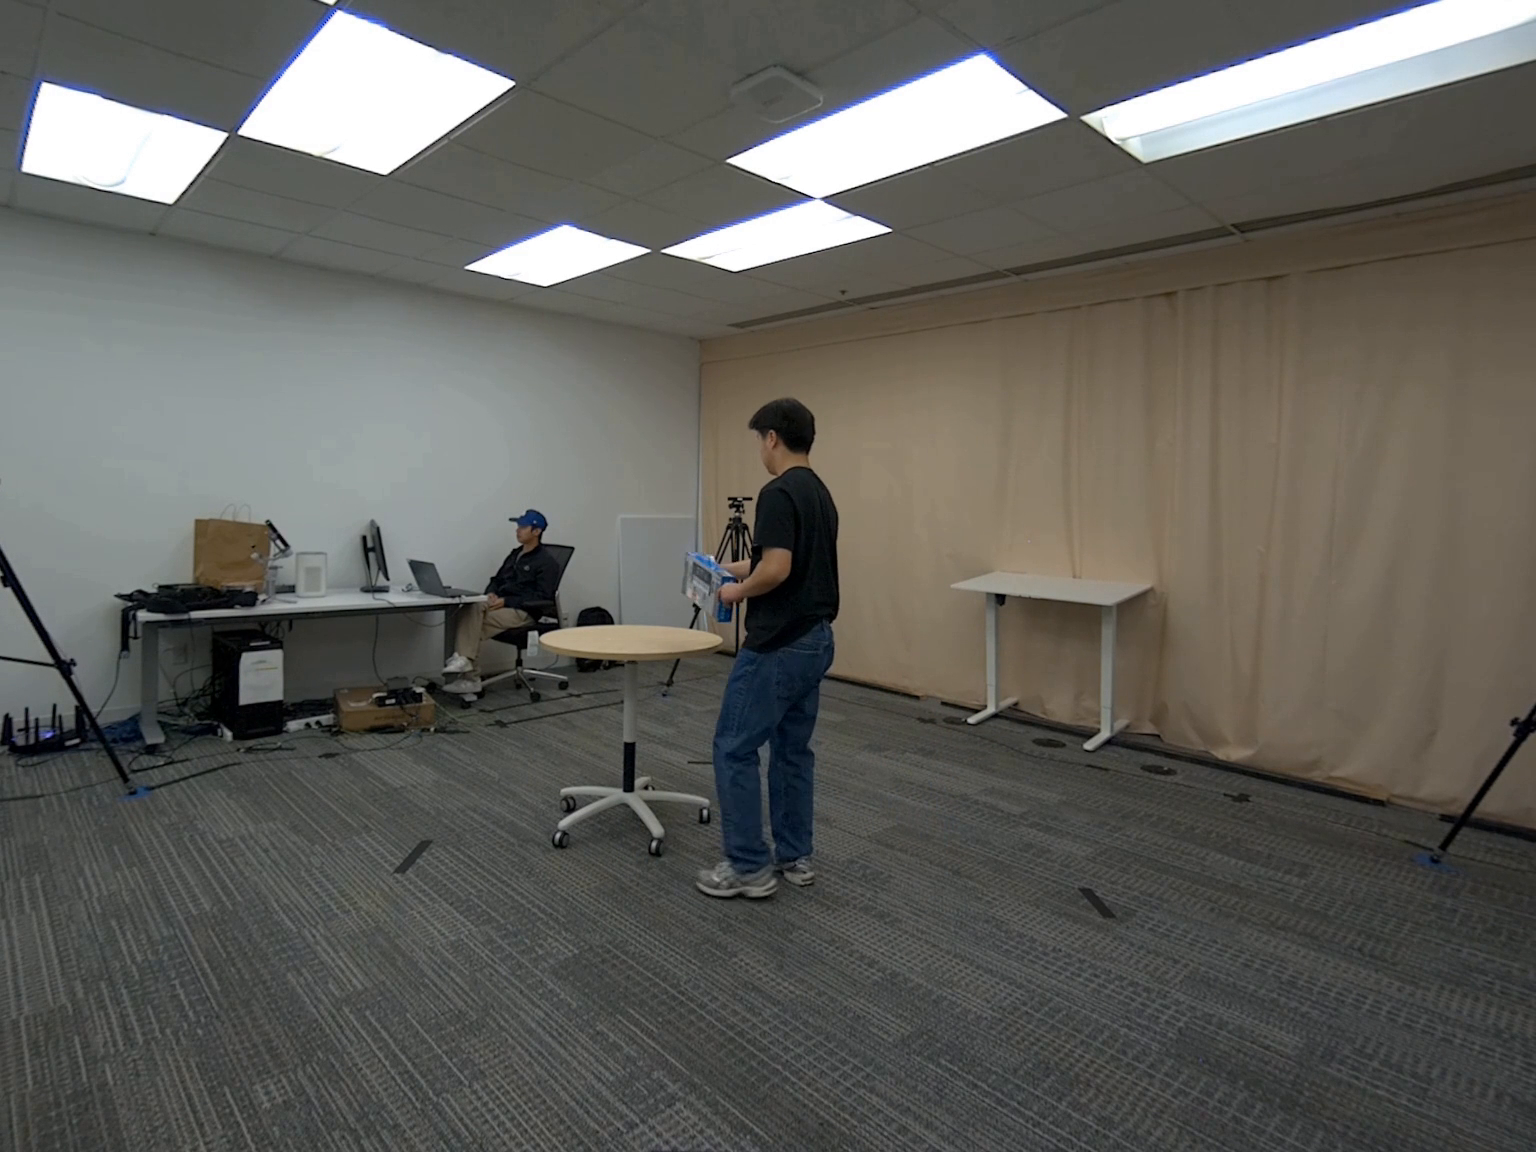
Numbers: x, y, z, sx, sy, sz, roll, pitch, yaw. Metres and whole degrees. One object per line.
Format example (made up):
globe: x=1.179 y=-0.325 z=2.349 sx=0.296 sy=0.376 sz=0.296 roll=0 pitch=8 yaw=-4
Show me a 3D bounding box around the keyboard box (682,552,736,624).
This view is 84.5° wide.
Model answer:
keyboard box: x=-0.244 y=0.038 z=3.261 sx=0.058 sy=0.175 sz=0.447 roll=3 pitch=12 yaw=-23
